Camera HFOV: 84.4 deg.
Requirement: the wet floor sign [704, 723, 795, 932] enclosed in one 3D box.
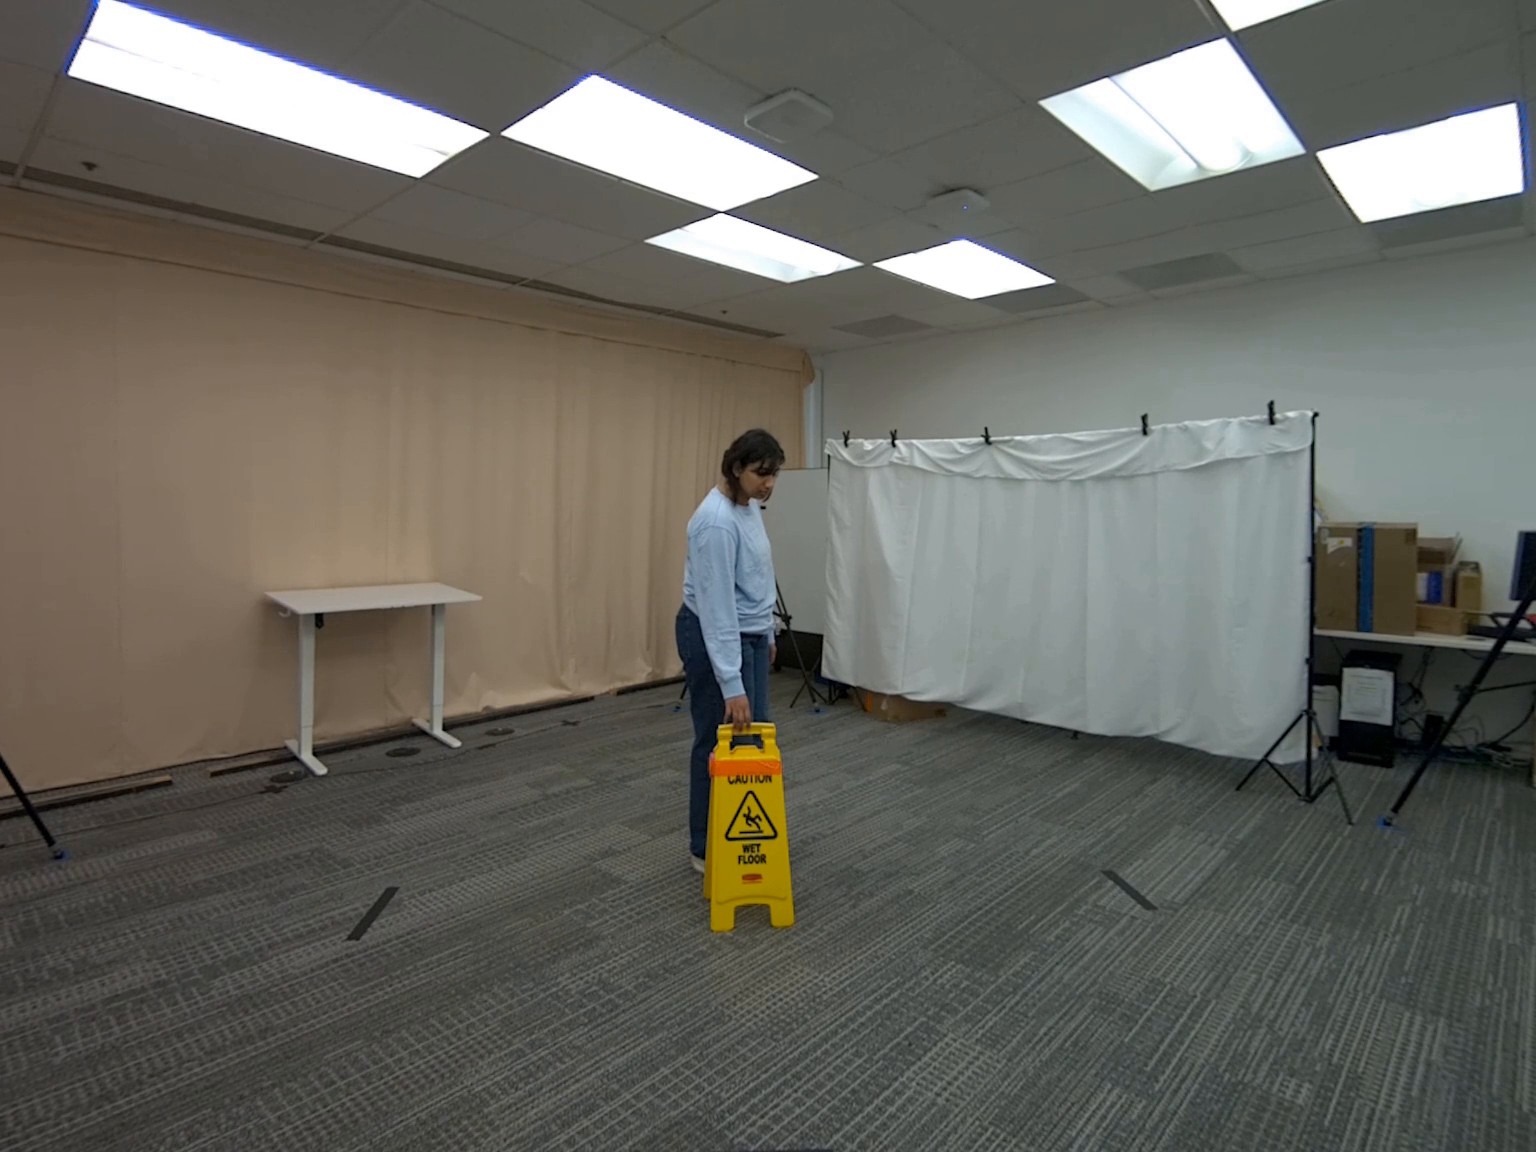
[{"bbox_3d":[-0.075,0.828,2.877,0.280,0.644,0.292,-1,4,-7],"label":"wet floor sign"}]
